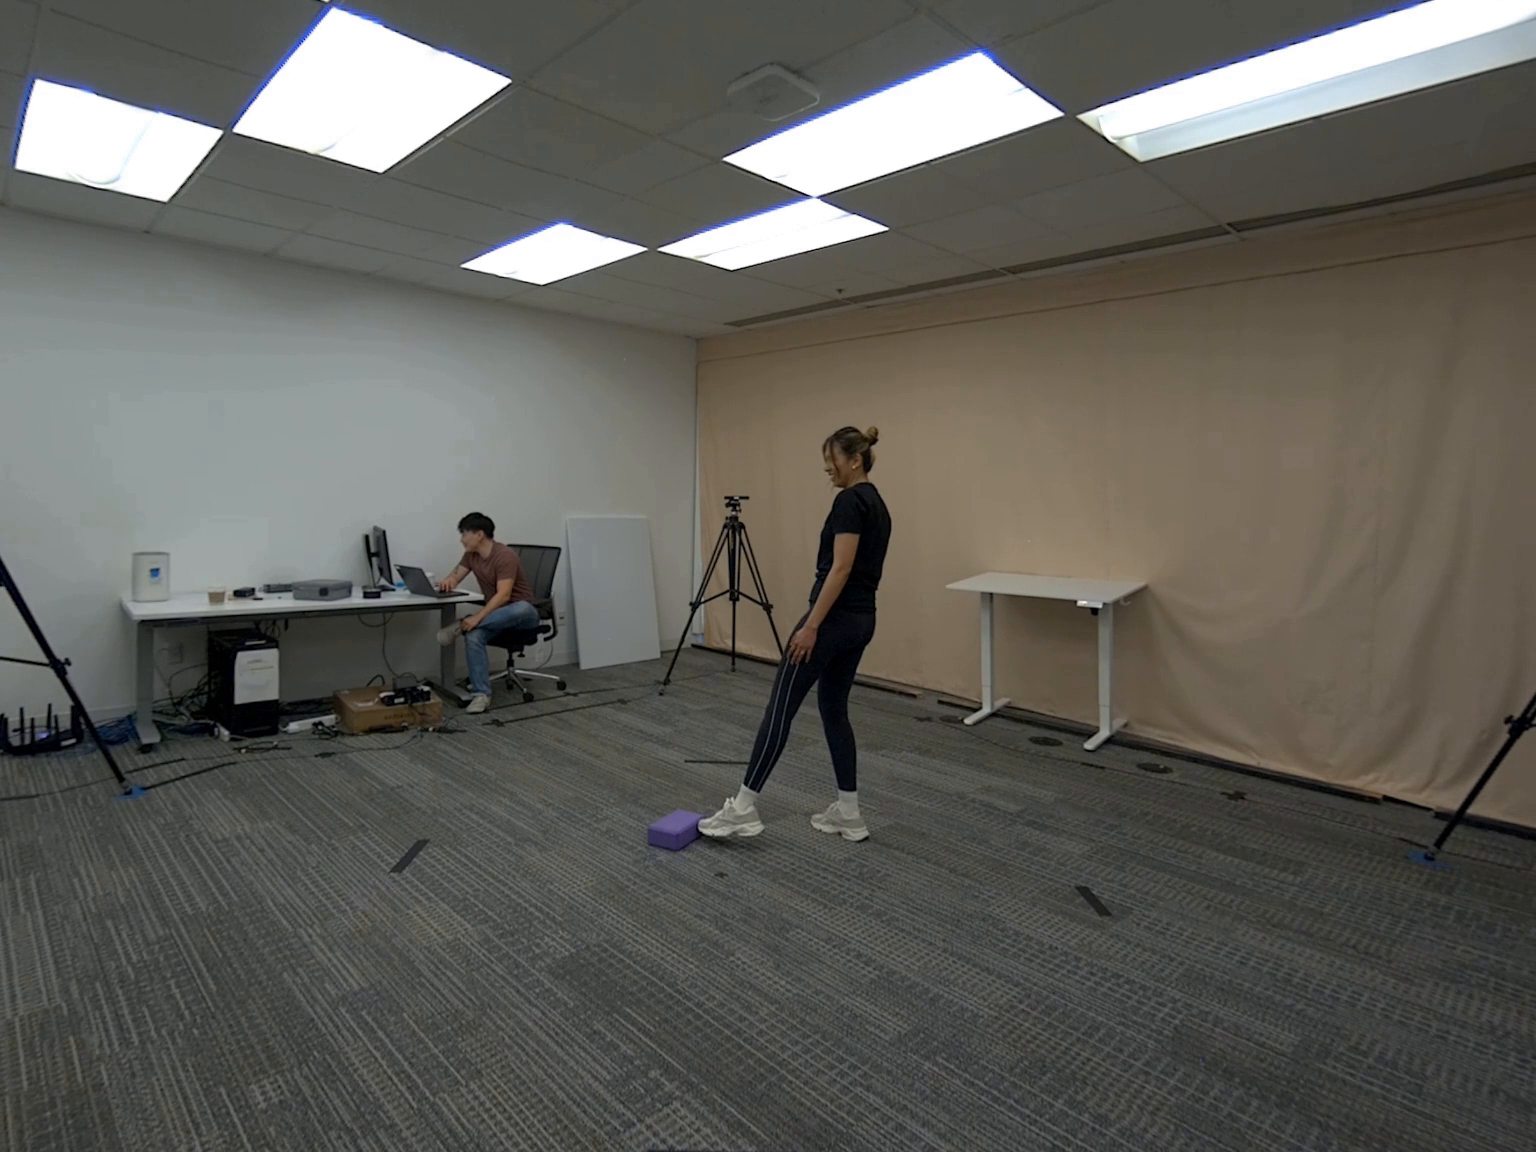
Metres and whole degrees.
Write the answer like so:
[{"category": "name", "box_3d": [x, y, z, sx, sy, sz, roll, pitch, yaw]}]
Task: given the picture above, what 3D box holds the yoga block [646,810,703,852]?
[{"category": "yoga block", "box_3d": [-0.375, 1.029, 3.419, 0.152, 0.076, 0.225, 3, 6, 27]}]
